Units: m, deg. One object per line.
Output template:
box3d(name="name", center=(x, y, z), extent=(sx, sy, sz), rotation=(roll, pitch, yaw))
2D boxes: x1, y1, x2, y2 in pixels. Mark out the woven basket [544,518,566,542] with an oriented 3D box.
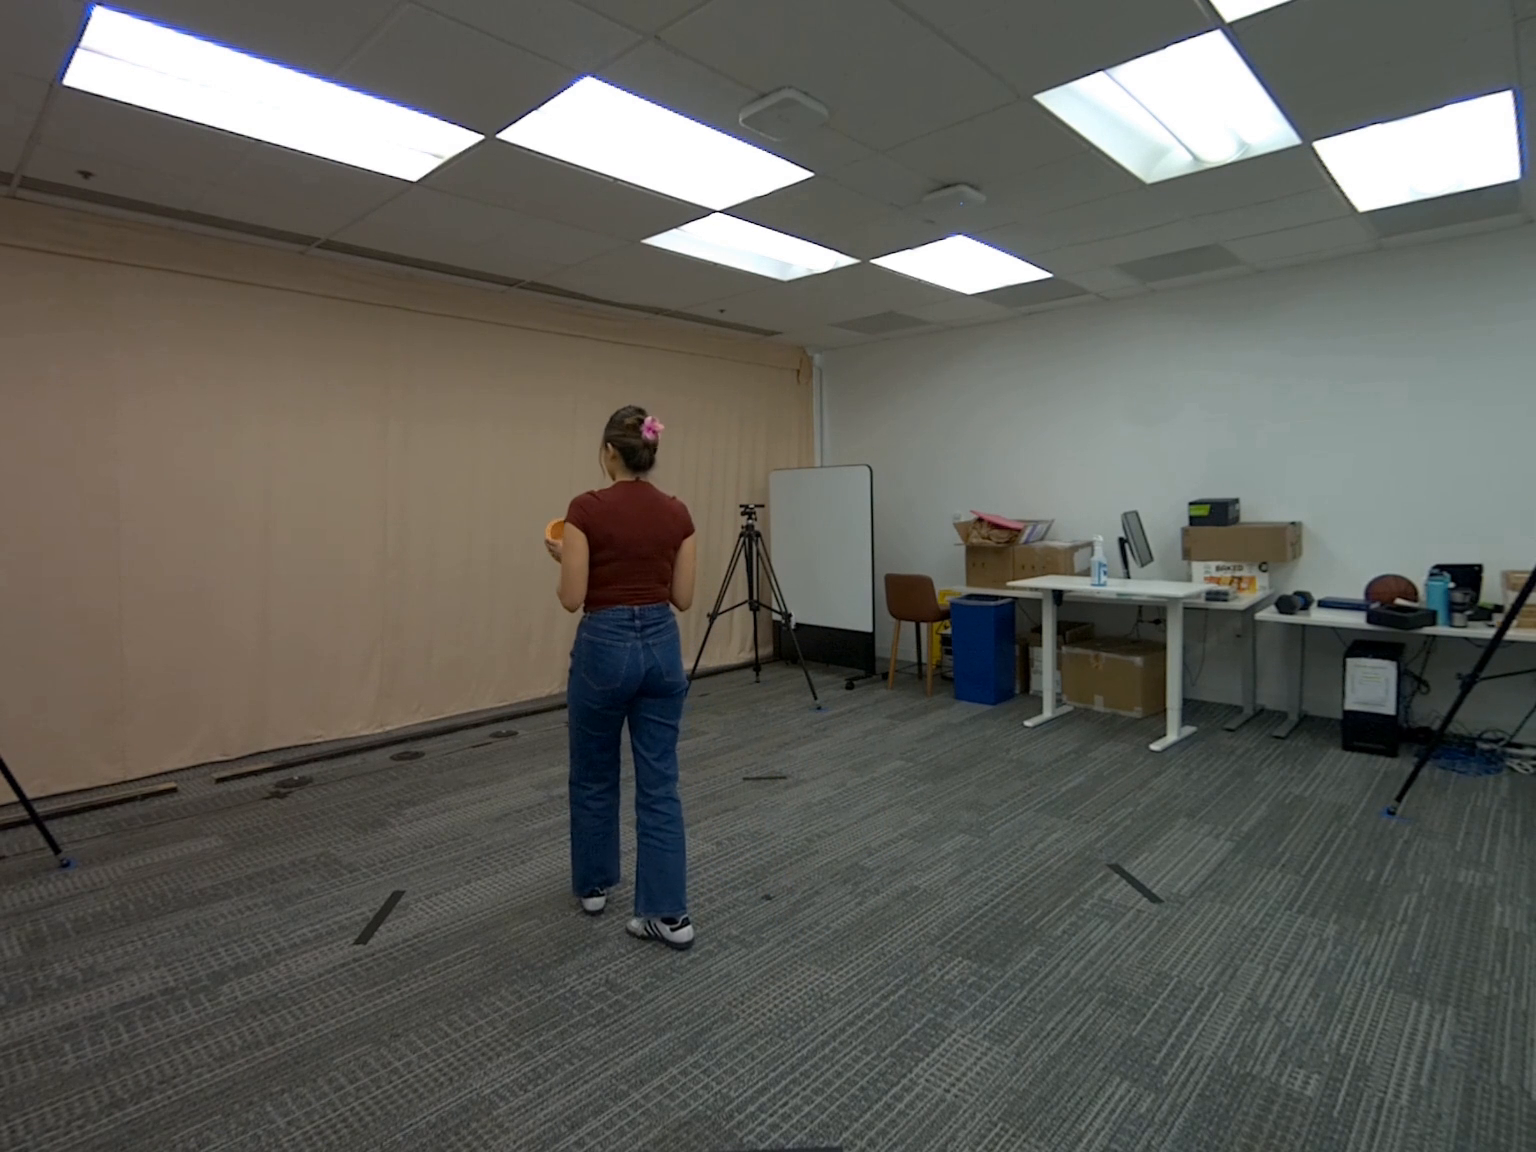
box3d(name="woven basket", center=(-0.640, -0.097, 3.013), extent=(0.344, 0.073, 0.258), rotation=(14, 36, -17))
